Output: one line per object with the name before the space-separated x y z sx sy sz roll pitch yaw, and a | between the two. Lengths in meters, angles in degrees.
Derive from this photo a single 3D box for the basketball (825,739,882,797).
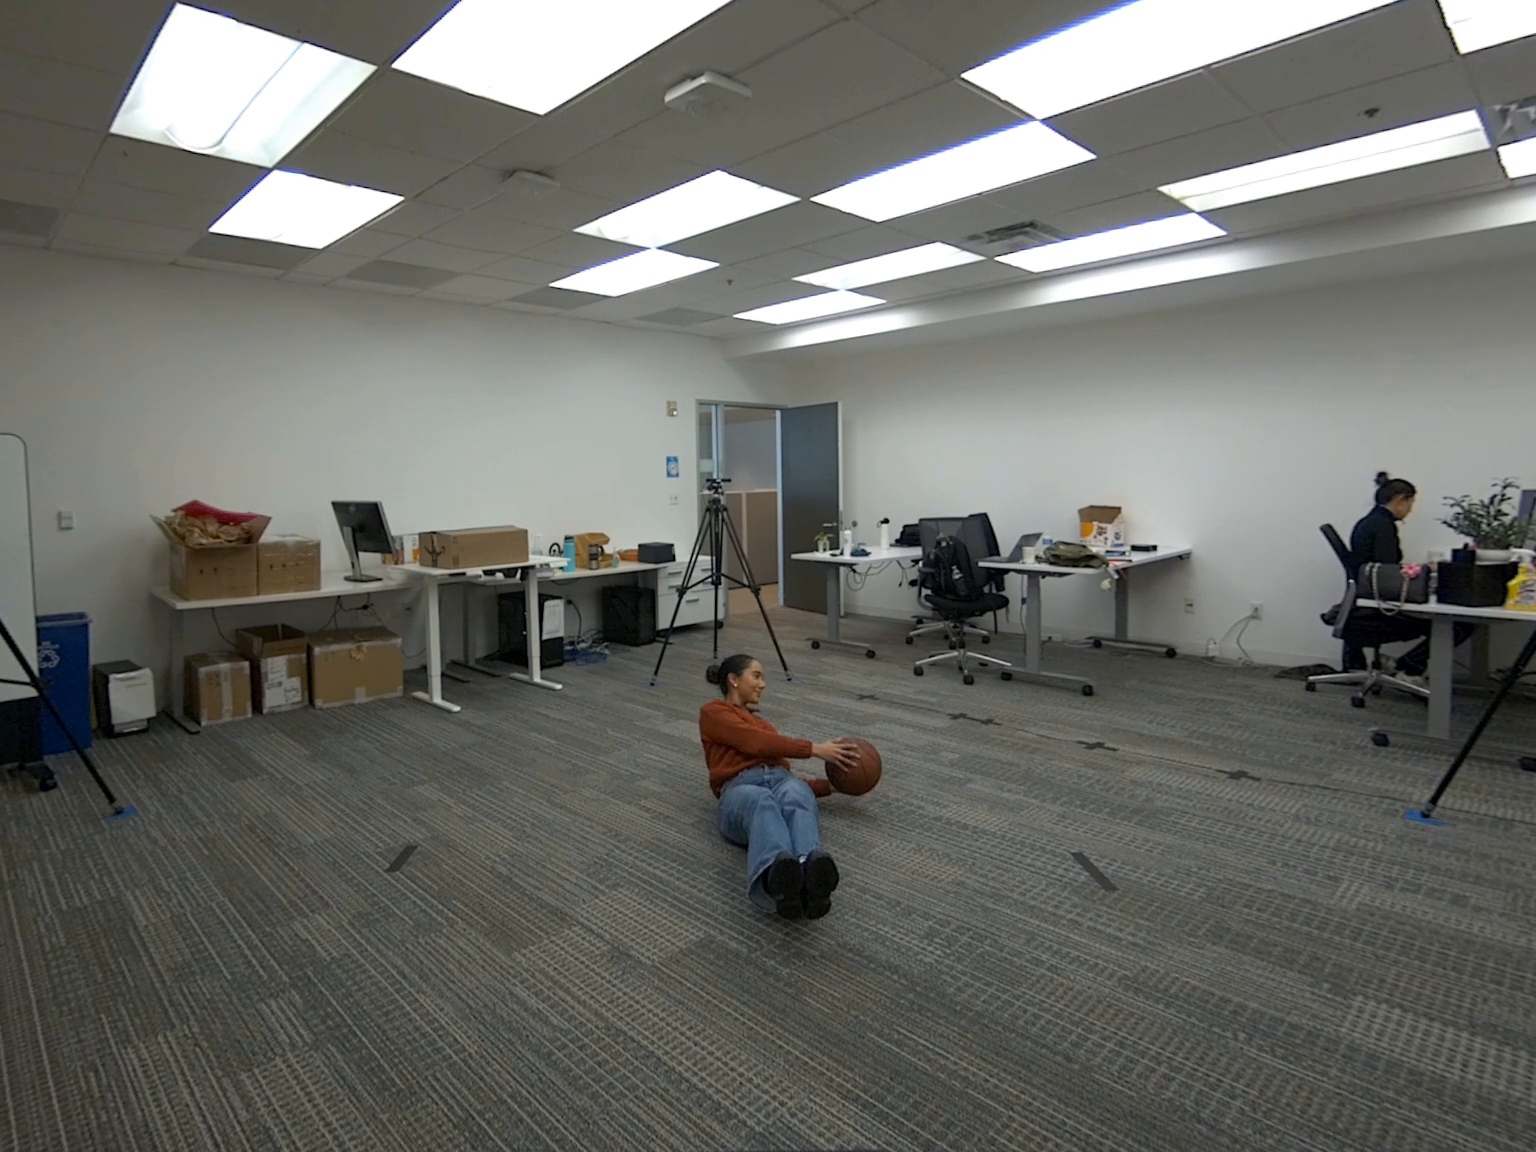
basketball | 0.345 0.763 3.554 0.236 0.235 0.237 -1 5 -2
